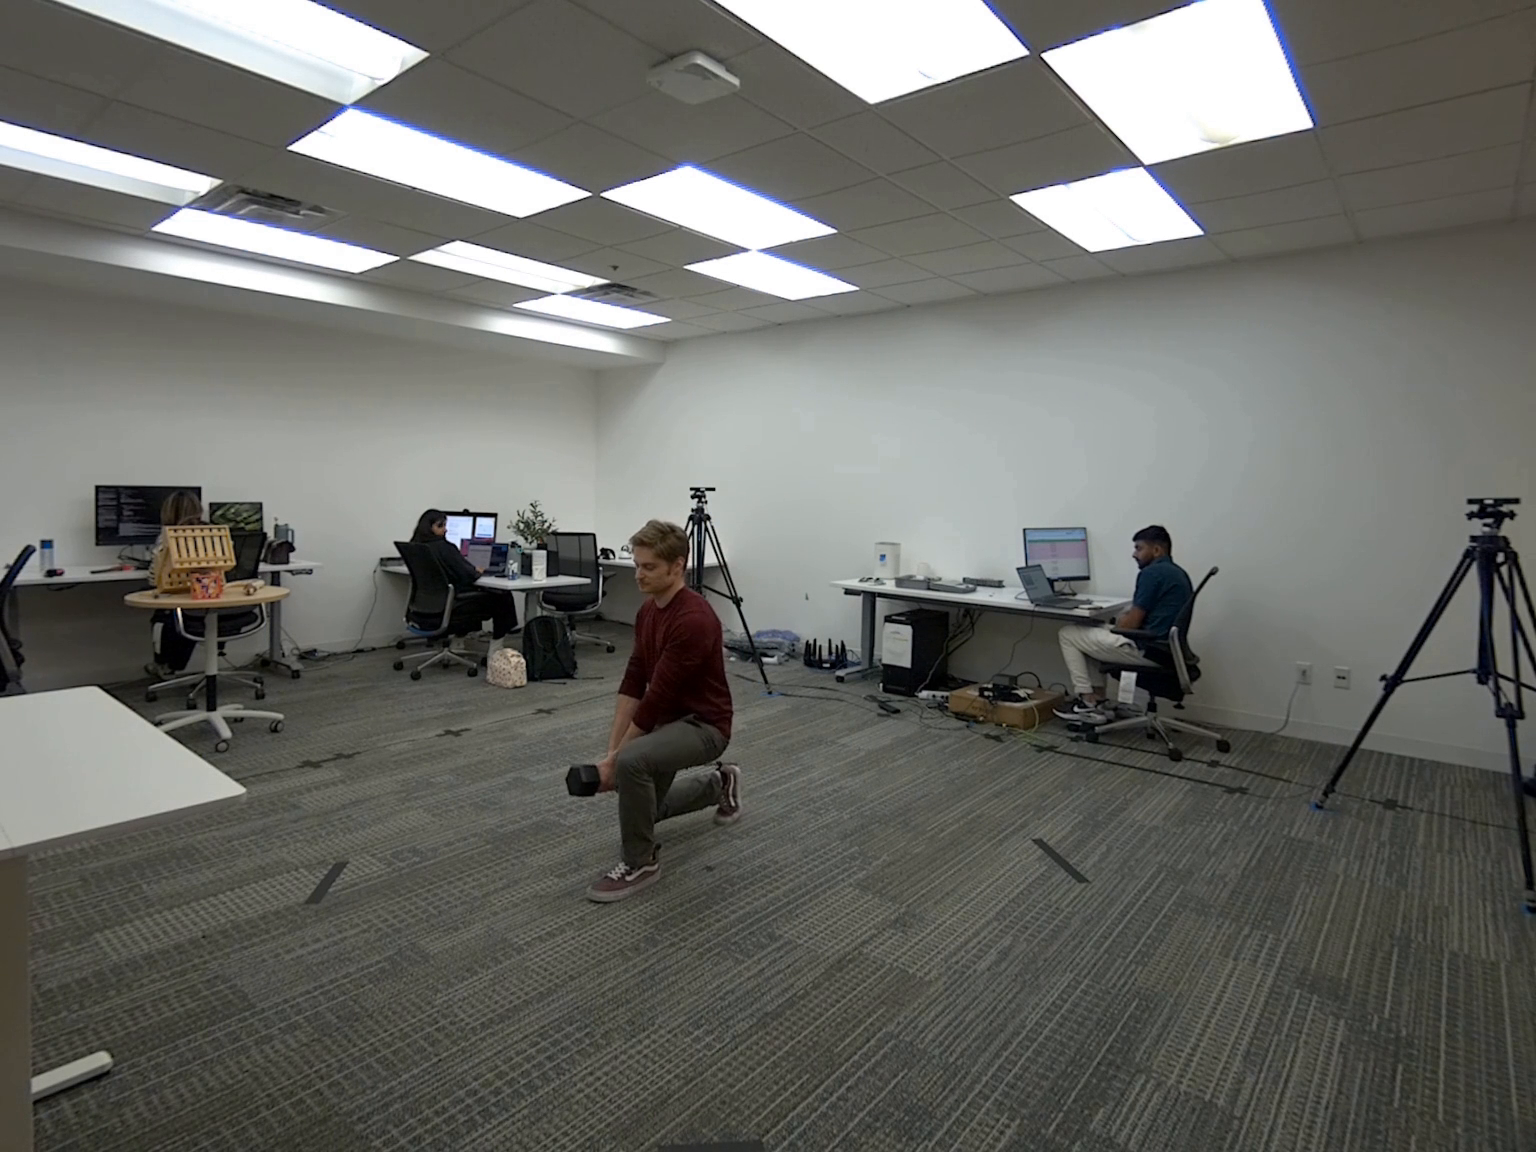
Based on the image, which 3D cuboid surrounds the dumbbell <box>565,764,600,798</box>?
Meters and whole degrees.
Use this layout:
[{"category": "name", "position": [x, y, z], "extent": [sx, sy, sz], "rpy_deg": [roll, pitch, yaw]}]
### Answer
[{"category": "dumbbell", "position": [-0.589, 0.717, 3.055], "extent": [0.282, 0.127, 0.109], "rpy_deg": [13, -46, -44]}]
